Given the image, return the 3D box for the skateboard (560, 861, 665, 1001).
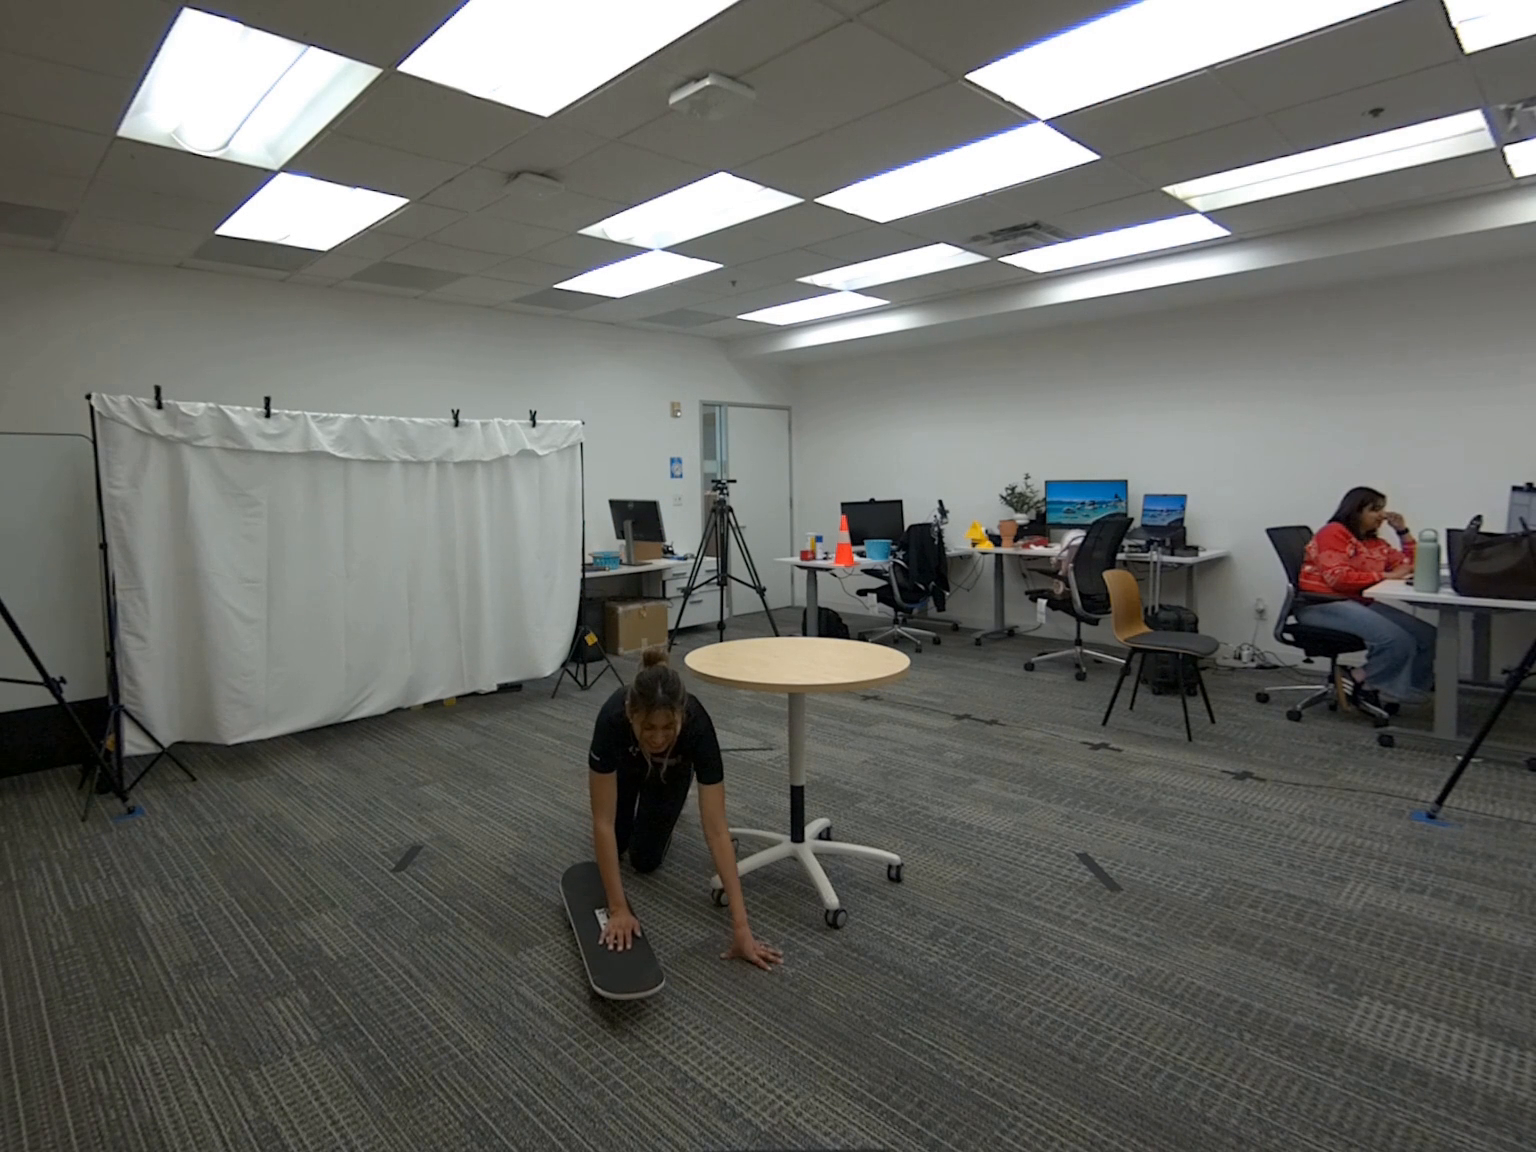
[{"bbox_3d":[-0.475,1.070,2.529,0.190,0.110,0.803,-2,7,-20],"label":"skateboard"}]
